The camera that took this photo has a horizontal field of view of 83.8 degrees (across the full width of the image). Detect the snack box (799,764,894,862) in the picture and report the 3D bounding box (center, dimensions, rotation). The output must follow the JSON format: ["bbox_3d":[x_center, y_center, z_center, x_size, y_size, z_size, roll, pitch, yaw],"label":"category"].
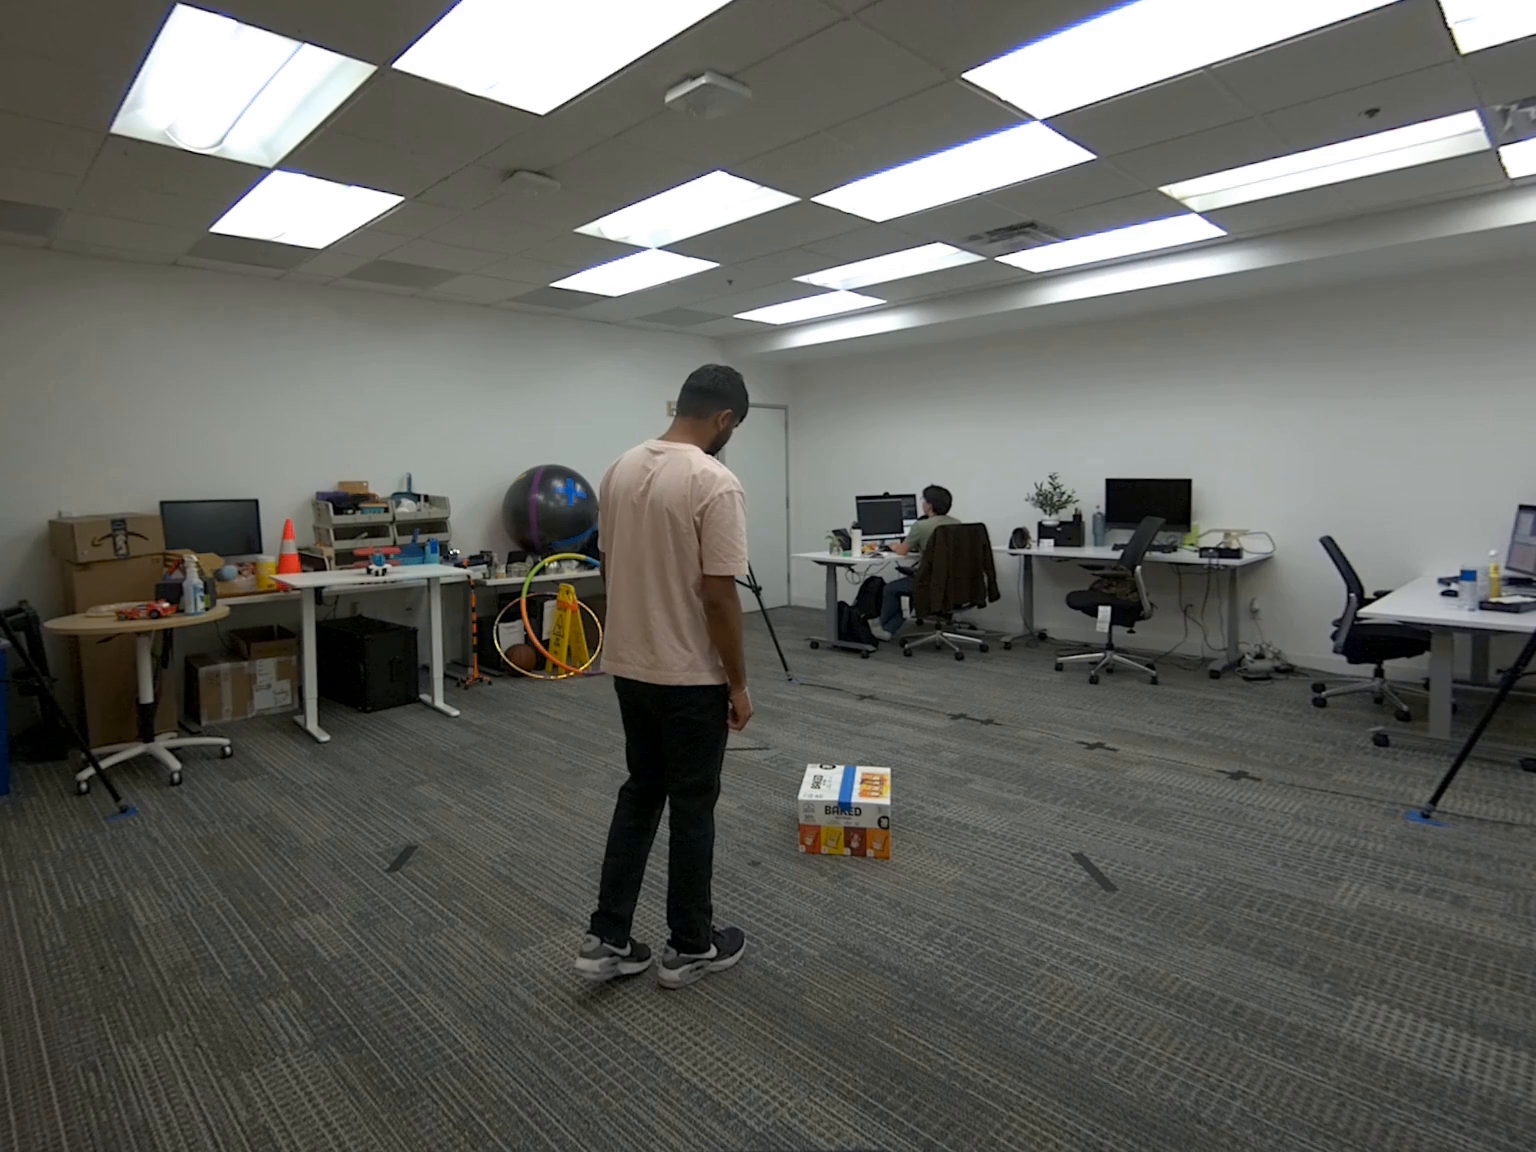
[{"bbox_3d":[0.315,0.911,3.350,0.344,0.205,0.403,0,6,10],"label":"snack box"}]
